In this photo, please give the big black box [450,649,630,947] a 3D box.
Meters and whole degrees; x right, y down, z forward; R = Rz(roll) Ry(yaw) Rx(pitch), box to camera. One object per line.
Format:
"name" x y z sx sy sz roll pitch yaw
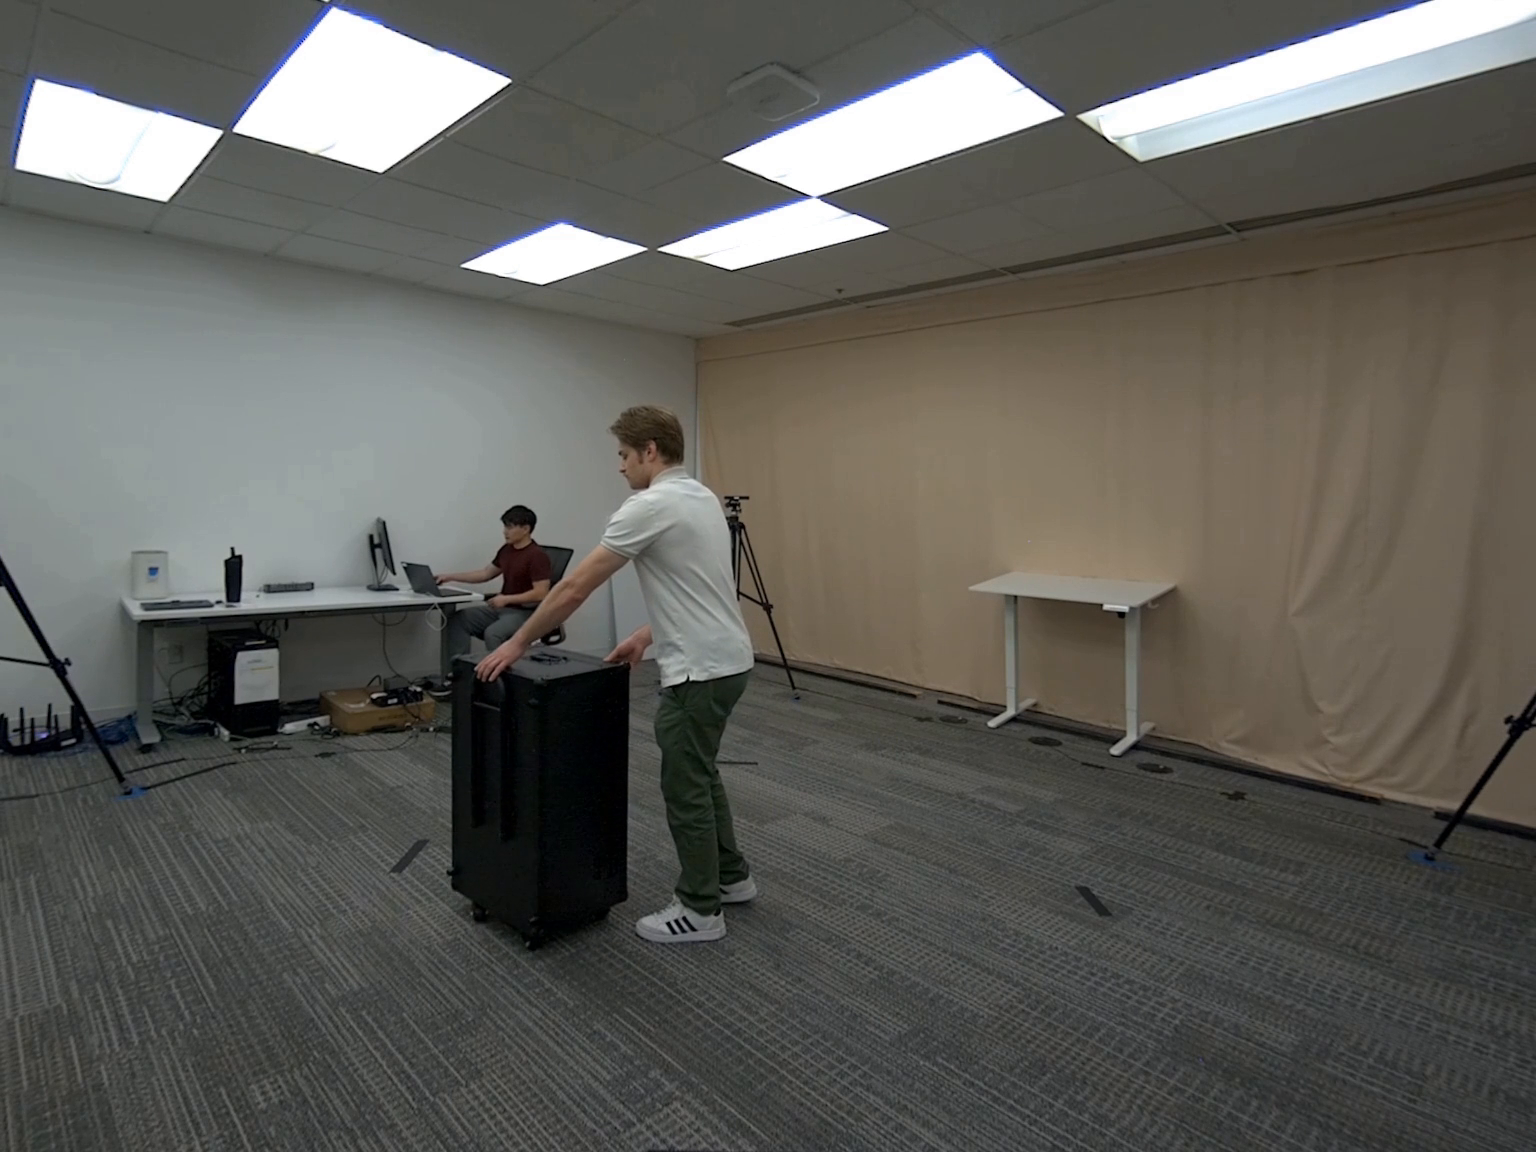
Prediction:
"big black box" -0.749 0.705 2.742 0.536 0.866 0.377 3 5 39
